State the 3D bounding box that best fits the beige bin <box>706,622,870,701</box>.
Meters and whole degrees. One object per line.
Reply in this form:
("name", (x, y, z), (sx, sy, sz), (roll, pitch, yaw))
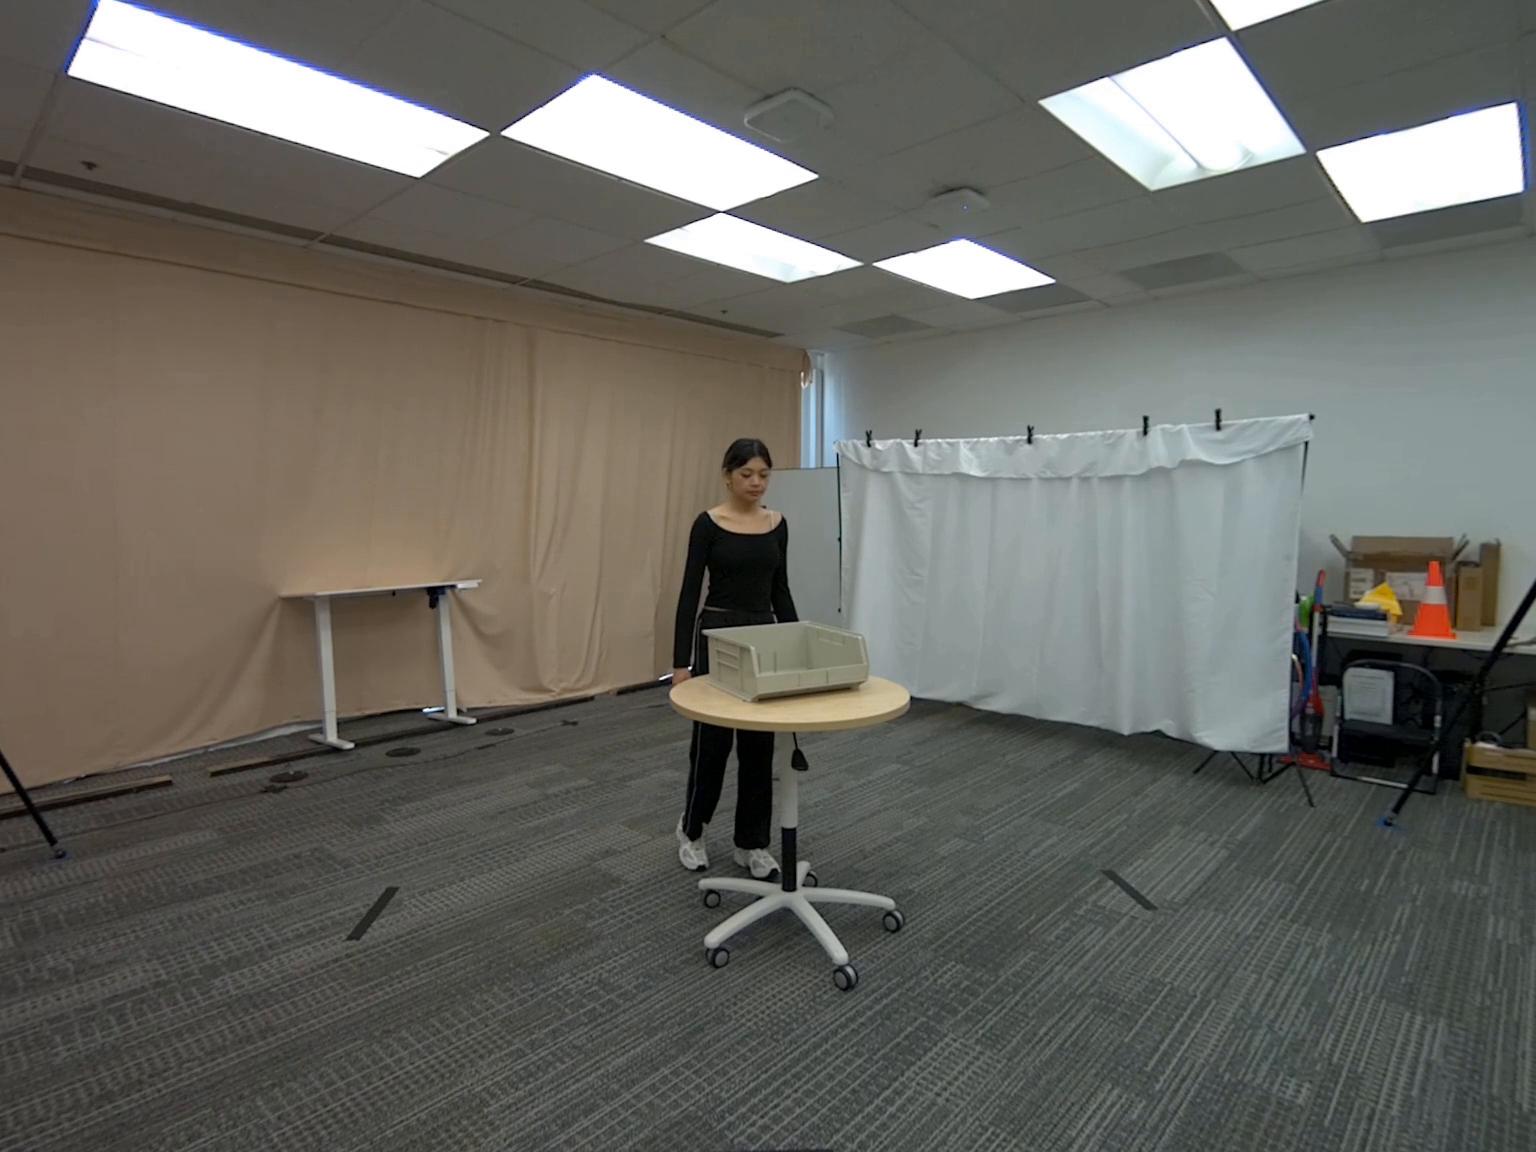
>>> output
("beige bin", (0.058, 0.279, 2.776), (0.412, 0.188, 0.387), (-3, 4, -27))
